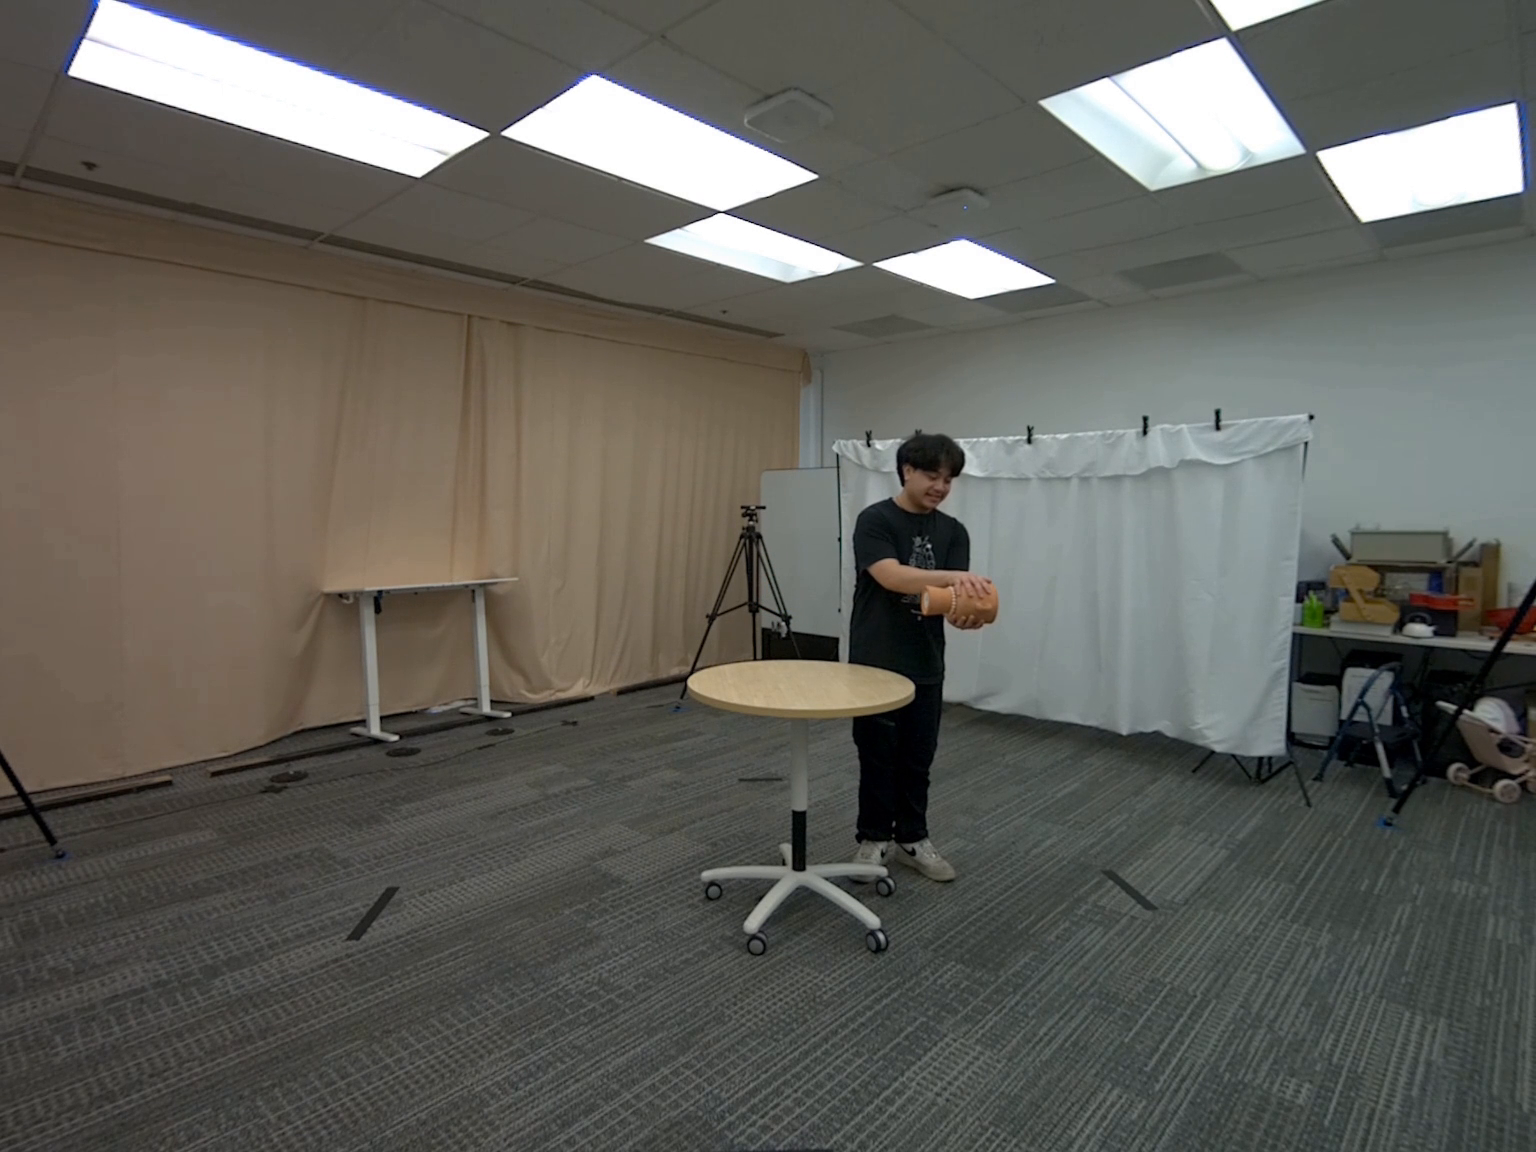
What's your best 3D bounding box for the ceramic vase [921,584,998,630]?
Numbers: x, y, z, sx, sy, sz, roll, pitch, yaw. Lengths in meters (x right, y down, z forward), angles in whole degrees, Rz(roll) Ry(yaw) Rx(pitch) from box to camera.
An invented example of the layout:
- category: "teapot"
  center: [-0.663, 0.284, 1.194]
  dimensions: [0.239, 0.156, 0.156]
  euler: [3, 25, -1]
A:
- category: "ceramic vase"
  center: [0.636, 0.083, 2.763]
  dimensions: [0.219, 0.137, 0.156]
  euler: [1, -31, -2]
